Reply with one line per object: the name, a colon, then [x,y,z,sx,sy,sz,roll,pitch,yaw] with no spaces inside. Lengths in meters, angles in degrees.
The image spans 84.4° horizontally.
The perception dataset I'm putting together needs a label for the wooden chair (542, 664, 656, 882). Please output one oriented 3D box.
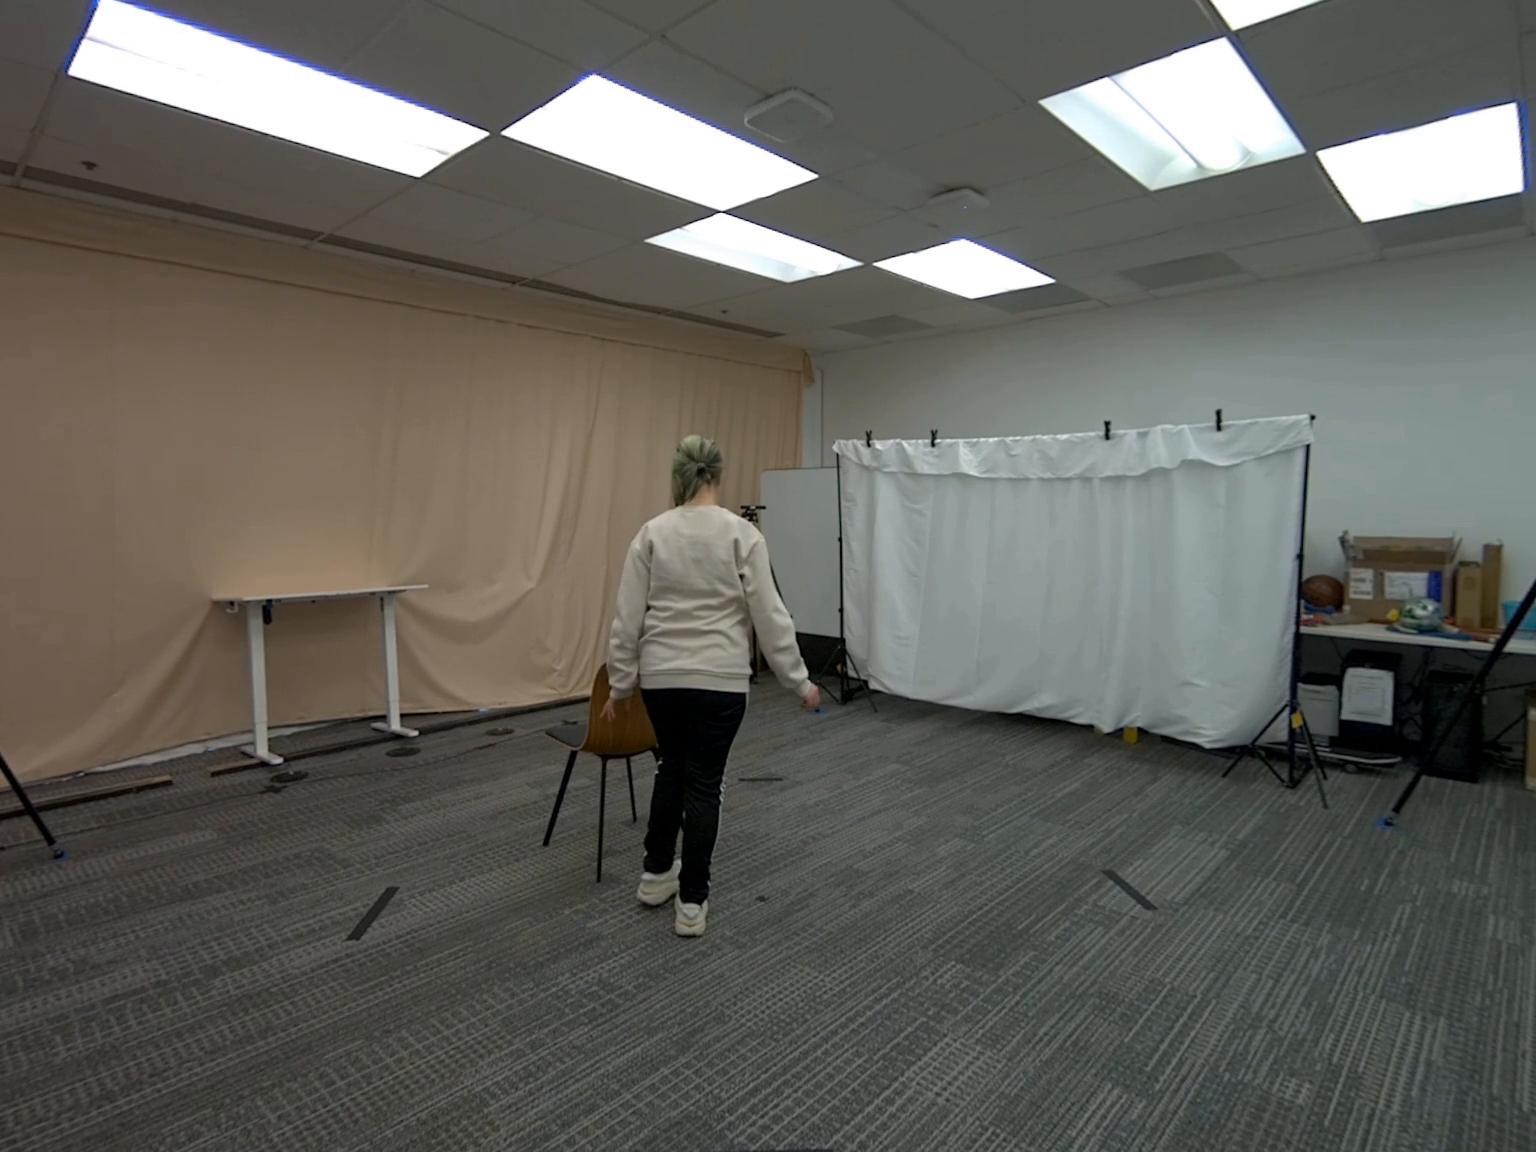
wooden chair: [-0.619,0.686,3.406,0.464,0.874,0.541,-3,8,-39]
